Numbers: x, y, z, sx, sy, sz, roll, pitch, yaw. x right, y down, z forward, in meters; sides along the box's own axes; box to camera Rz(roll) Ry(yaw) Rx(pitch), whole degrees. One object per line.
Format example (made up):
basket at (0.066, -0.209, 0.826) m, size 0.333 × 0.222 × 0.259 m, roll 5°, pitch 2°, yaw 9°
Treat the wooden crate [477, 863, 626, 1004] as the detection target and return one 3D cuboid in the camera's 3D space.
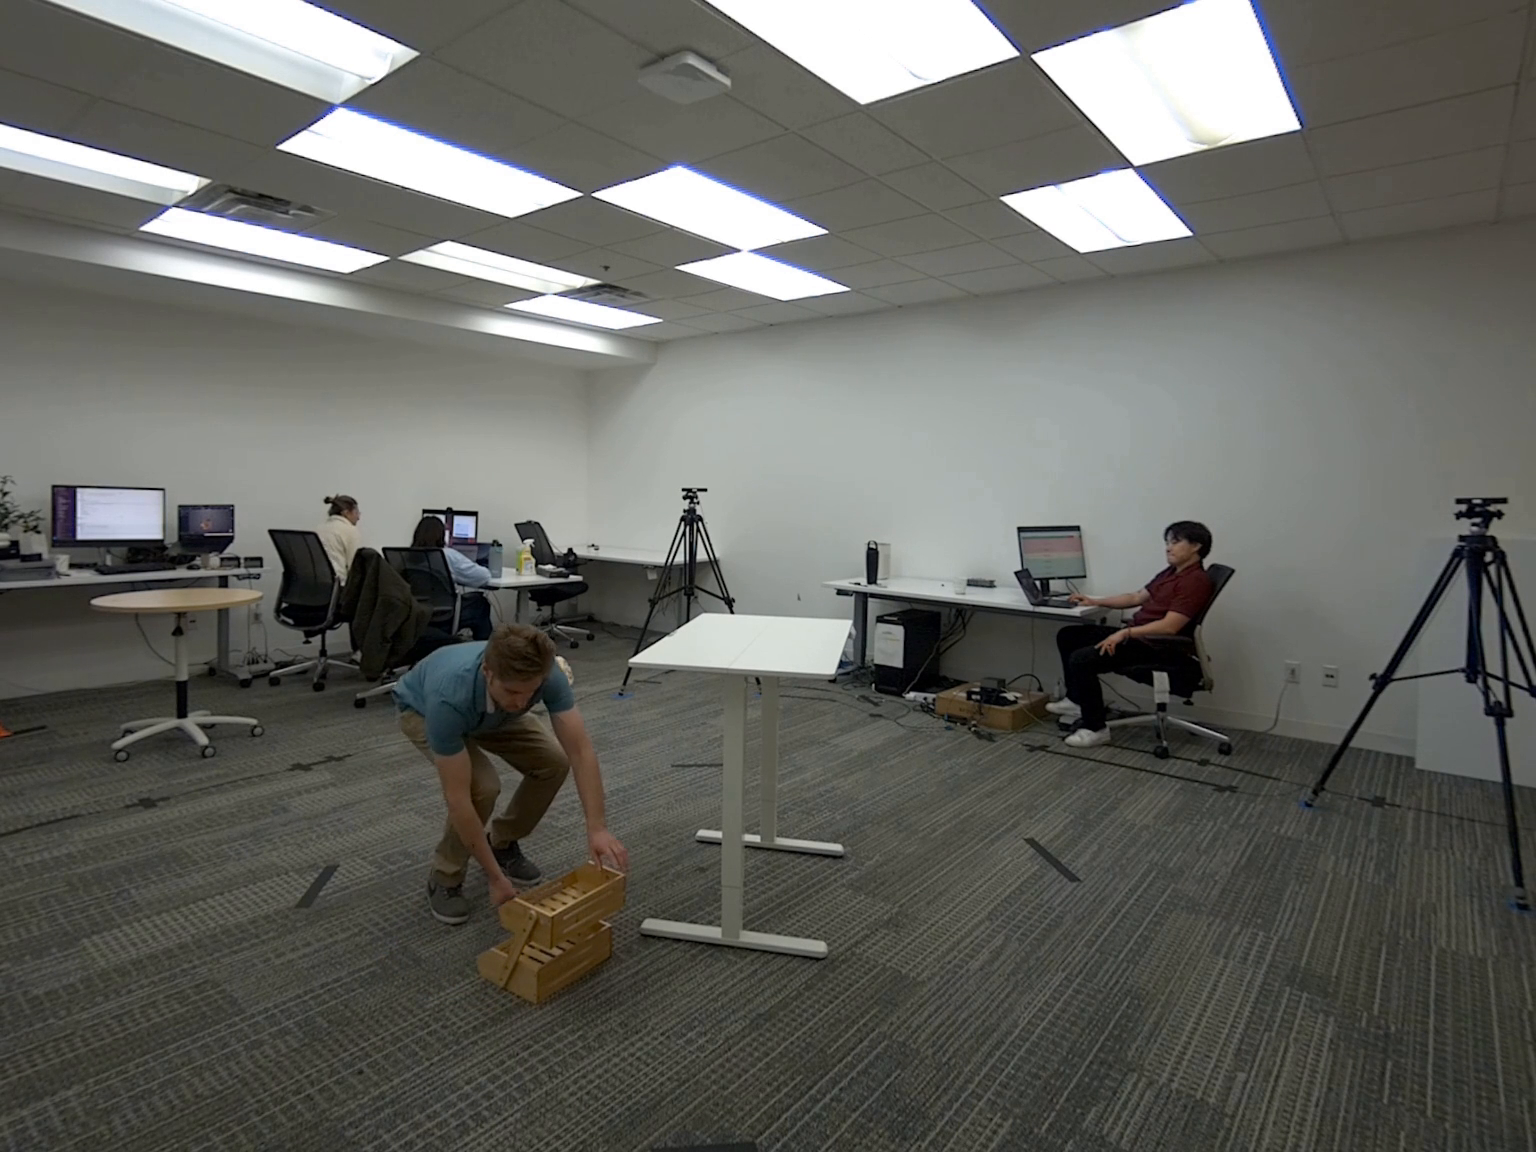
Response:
wooden crate at (-0.632, 0.996, 2.445) m, size 0.311 × 0.272 × 0.315 m, roll 5°, pitch 6°, yaw 33°
